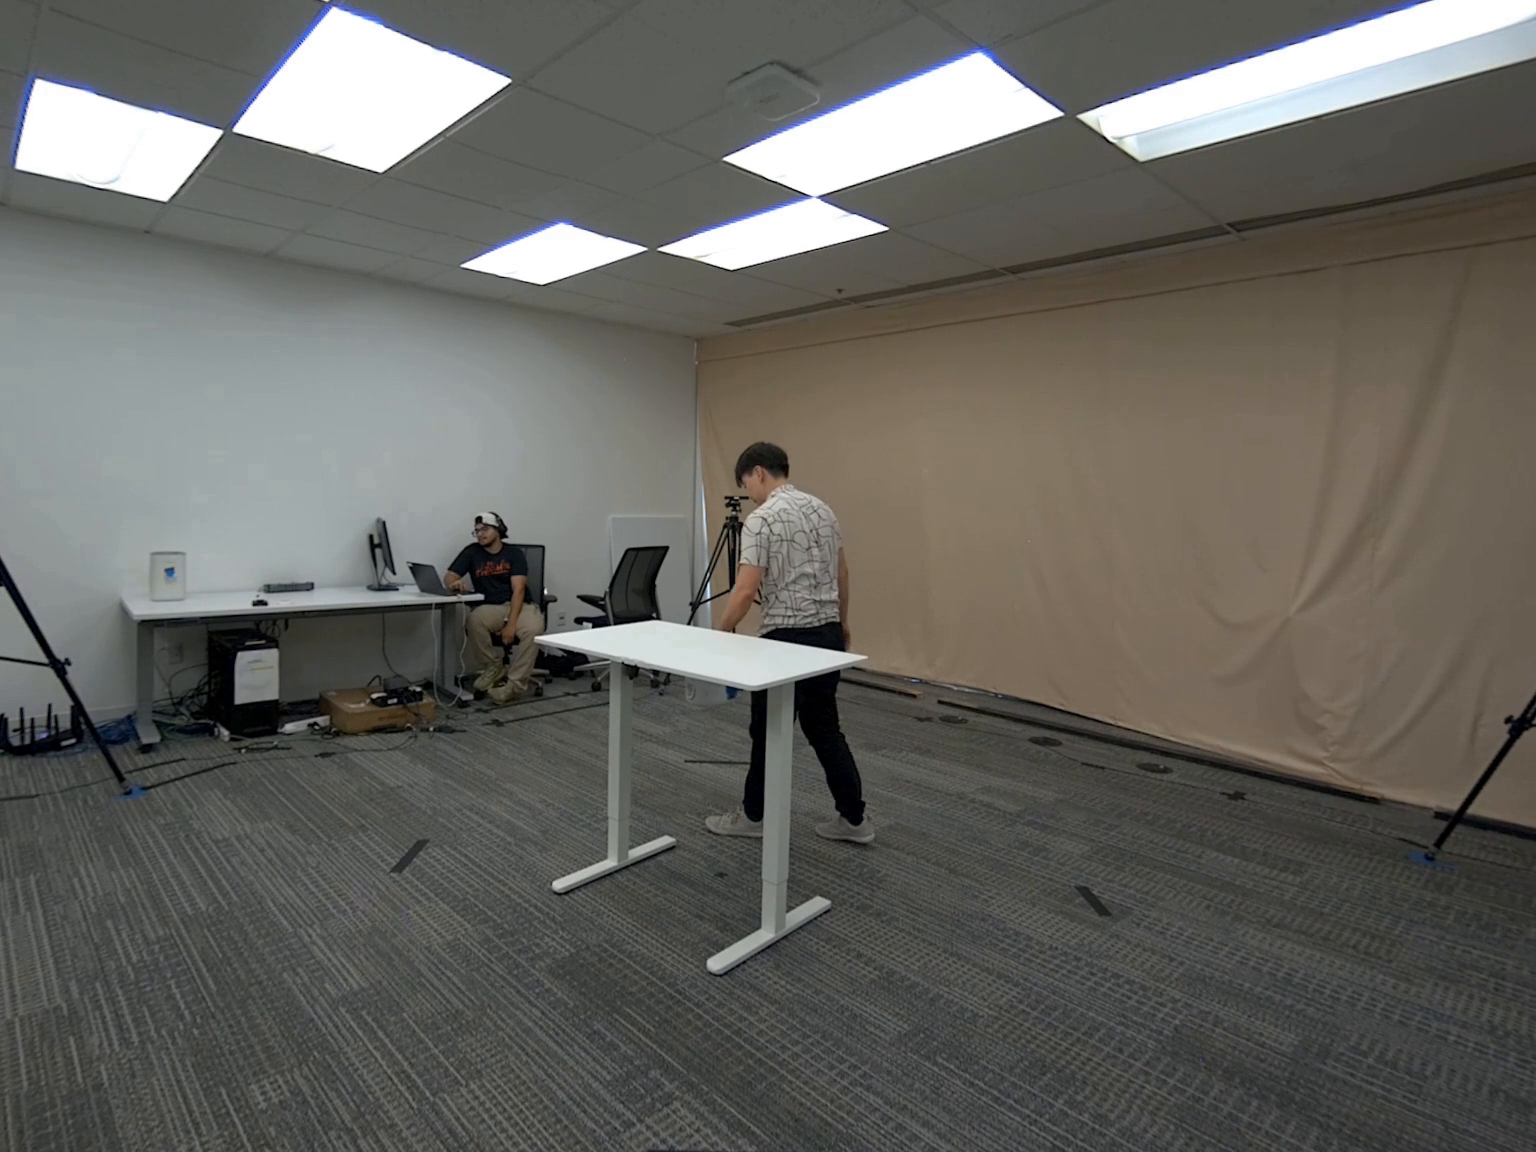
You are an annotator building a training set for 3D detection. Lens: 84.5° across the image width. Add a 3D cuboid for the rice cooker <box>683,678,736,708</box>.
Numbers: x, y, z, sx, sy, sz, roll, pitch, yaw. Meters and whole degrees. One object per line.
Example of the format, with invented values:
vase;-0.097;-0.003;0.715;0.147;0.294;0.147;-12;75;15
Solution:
rice cooker;-0.232;0.400;3.424;0.213;0.232;0.226;-5;7;-39
